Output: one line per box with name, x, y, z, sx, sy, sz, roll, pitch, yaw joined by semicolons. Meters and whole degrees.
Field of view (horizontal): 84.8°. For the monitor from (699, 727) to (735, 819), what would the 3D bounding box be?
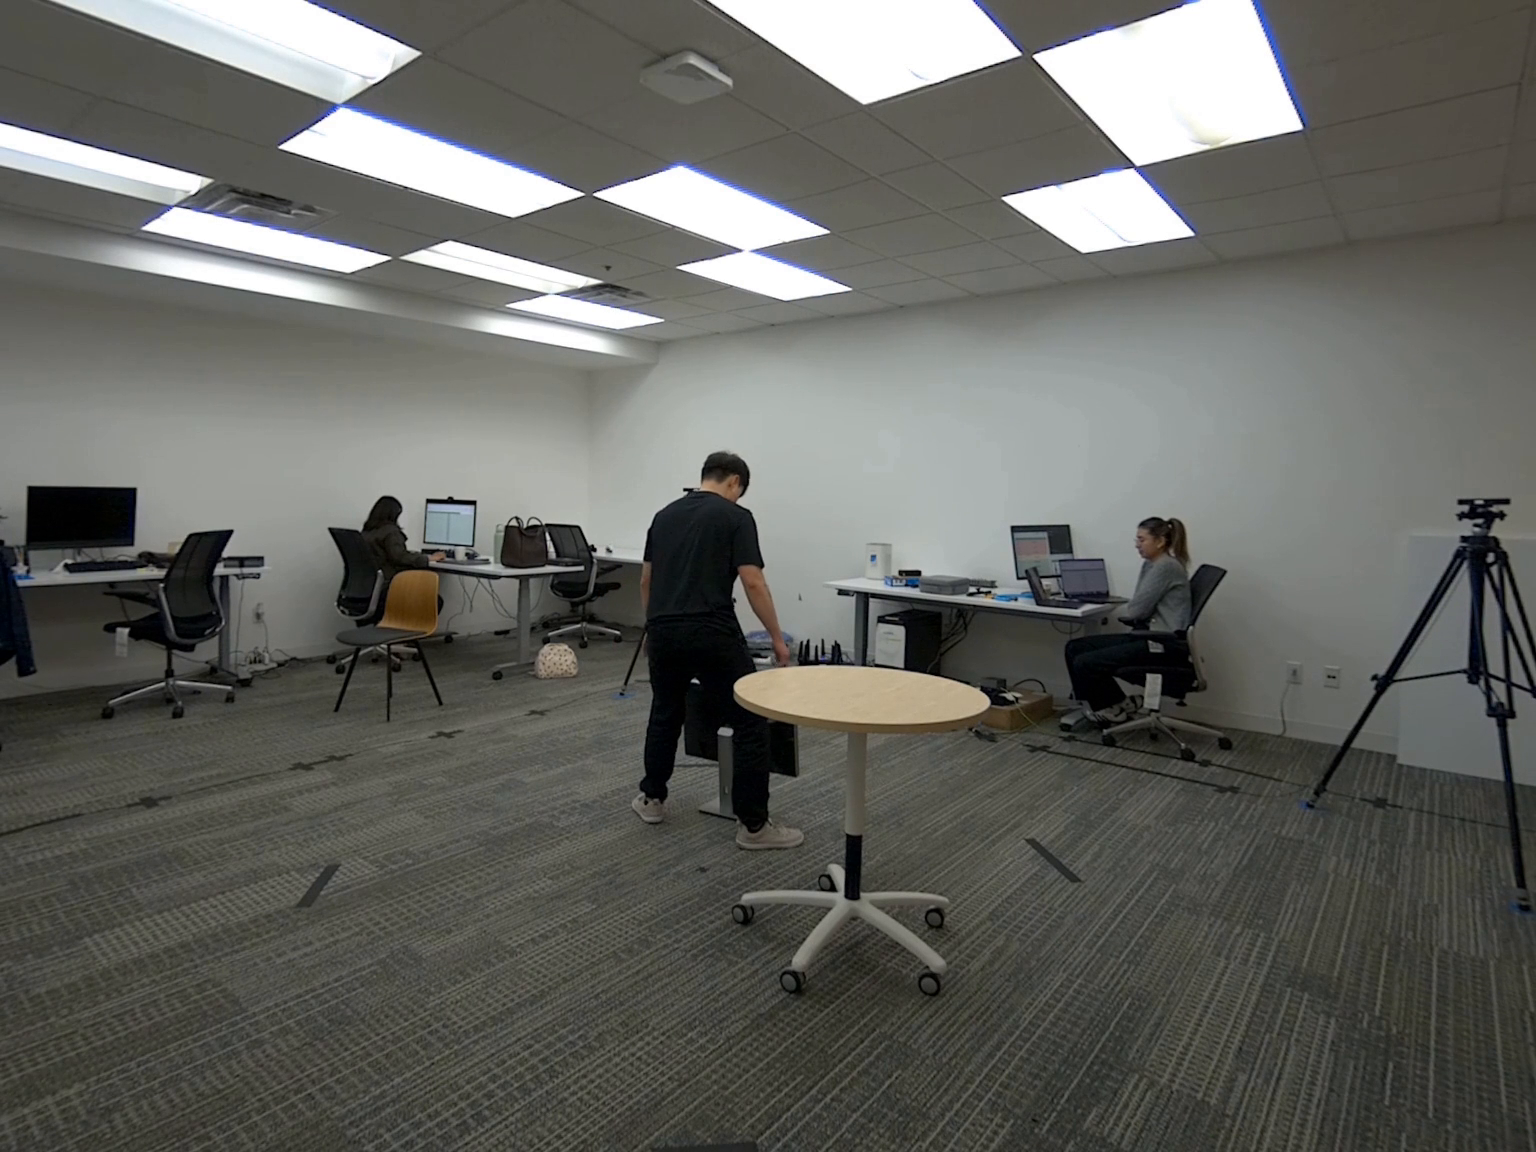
monitor;-0.157;0.750;3.677;0.554;0.522;0.182;3;1;26
